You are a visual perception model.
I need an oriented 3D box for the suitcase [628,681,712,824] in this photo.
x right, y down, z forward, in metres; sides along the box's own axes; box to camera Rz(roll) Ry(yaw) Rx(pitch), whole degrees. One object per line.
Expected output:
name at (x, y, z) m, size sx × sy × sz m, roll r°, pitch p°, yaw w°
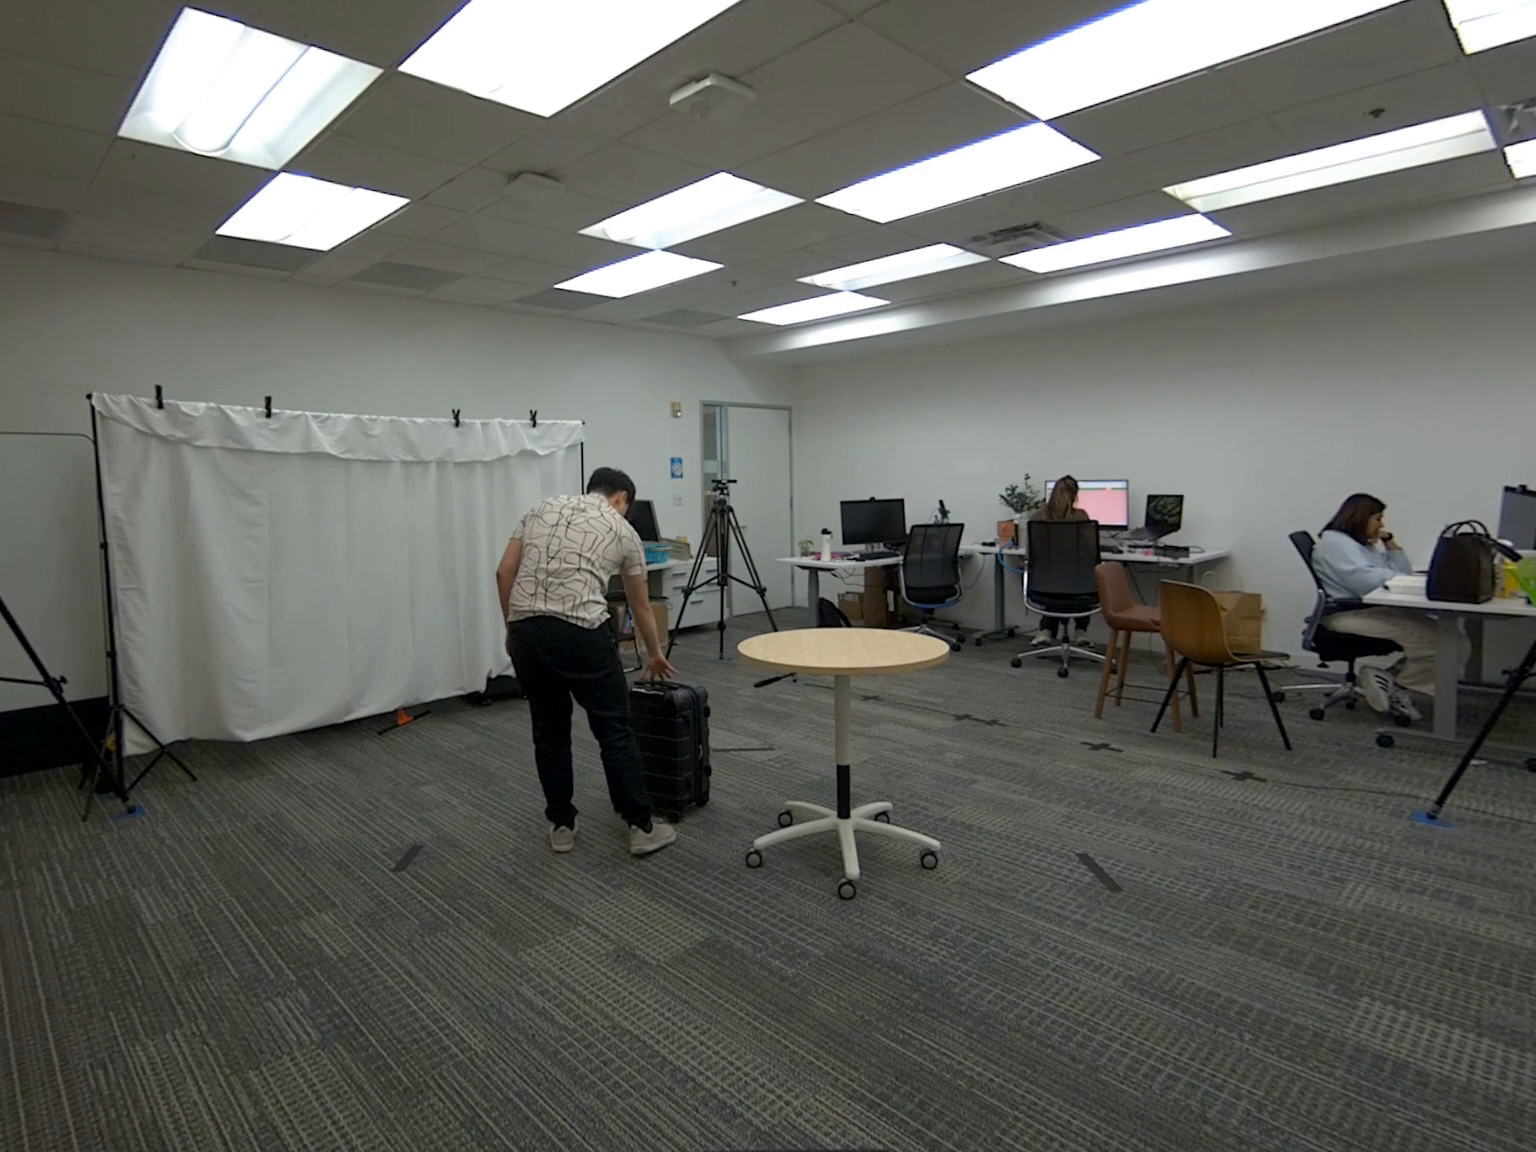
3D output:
suitcase at (-0.449, 0.722, 3.660) m, size 0.385 × 0.548 × 0.242 m, roll 2°, pitch 3°, yaw 30°
